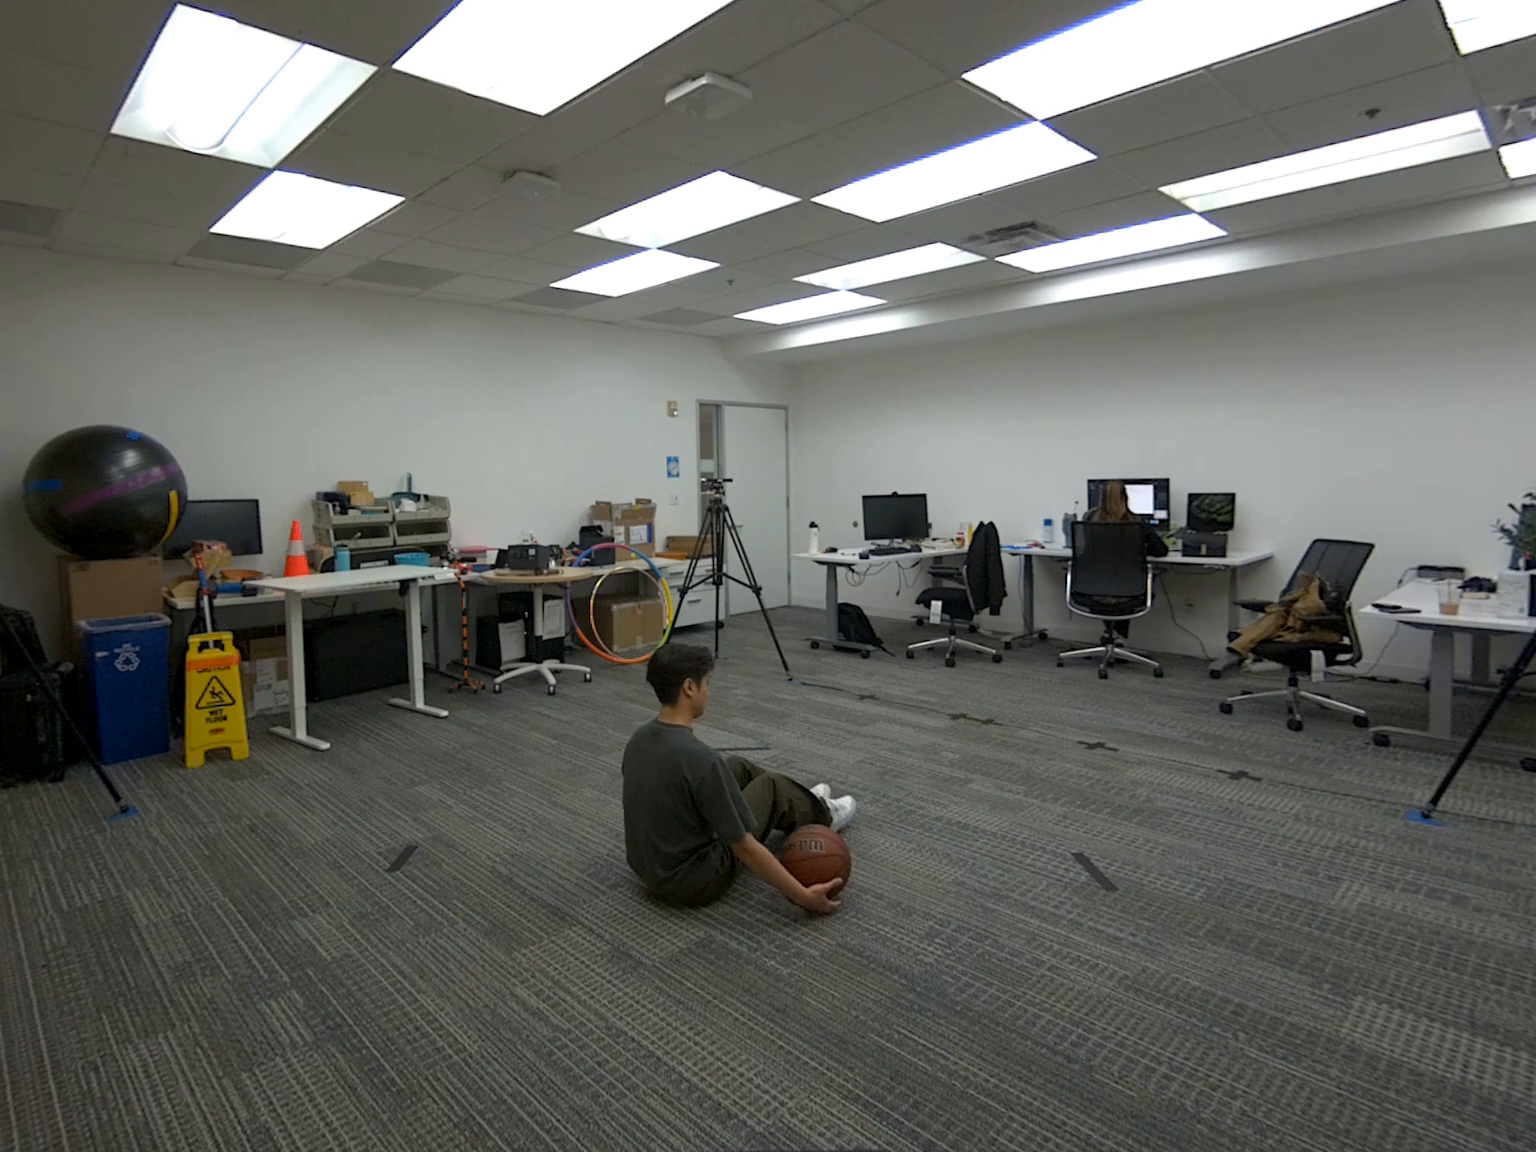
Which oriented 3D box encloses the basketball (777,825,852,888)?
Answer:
[{"bbox_3d":[0.158,0.950,2.837,0.236,0.235,0.237,-1,5,-2],"label":"basketball"}]
